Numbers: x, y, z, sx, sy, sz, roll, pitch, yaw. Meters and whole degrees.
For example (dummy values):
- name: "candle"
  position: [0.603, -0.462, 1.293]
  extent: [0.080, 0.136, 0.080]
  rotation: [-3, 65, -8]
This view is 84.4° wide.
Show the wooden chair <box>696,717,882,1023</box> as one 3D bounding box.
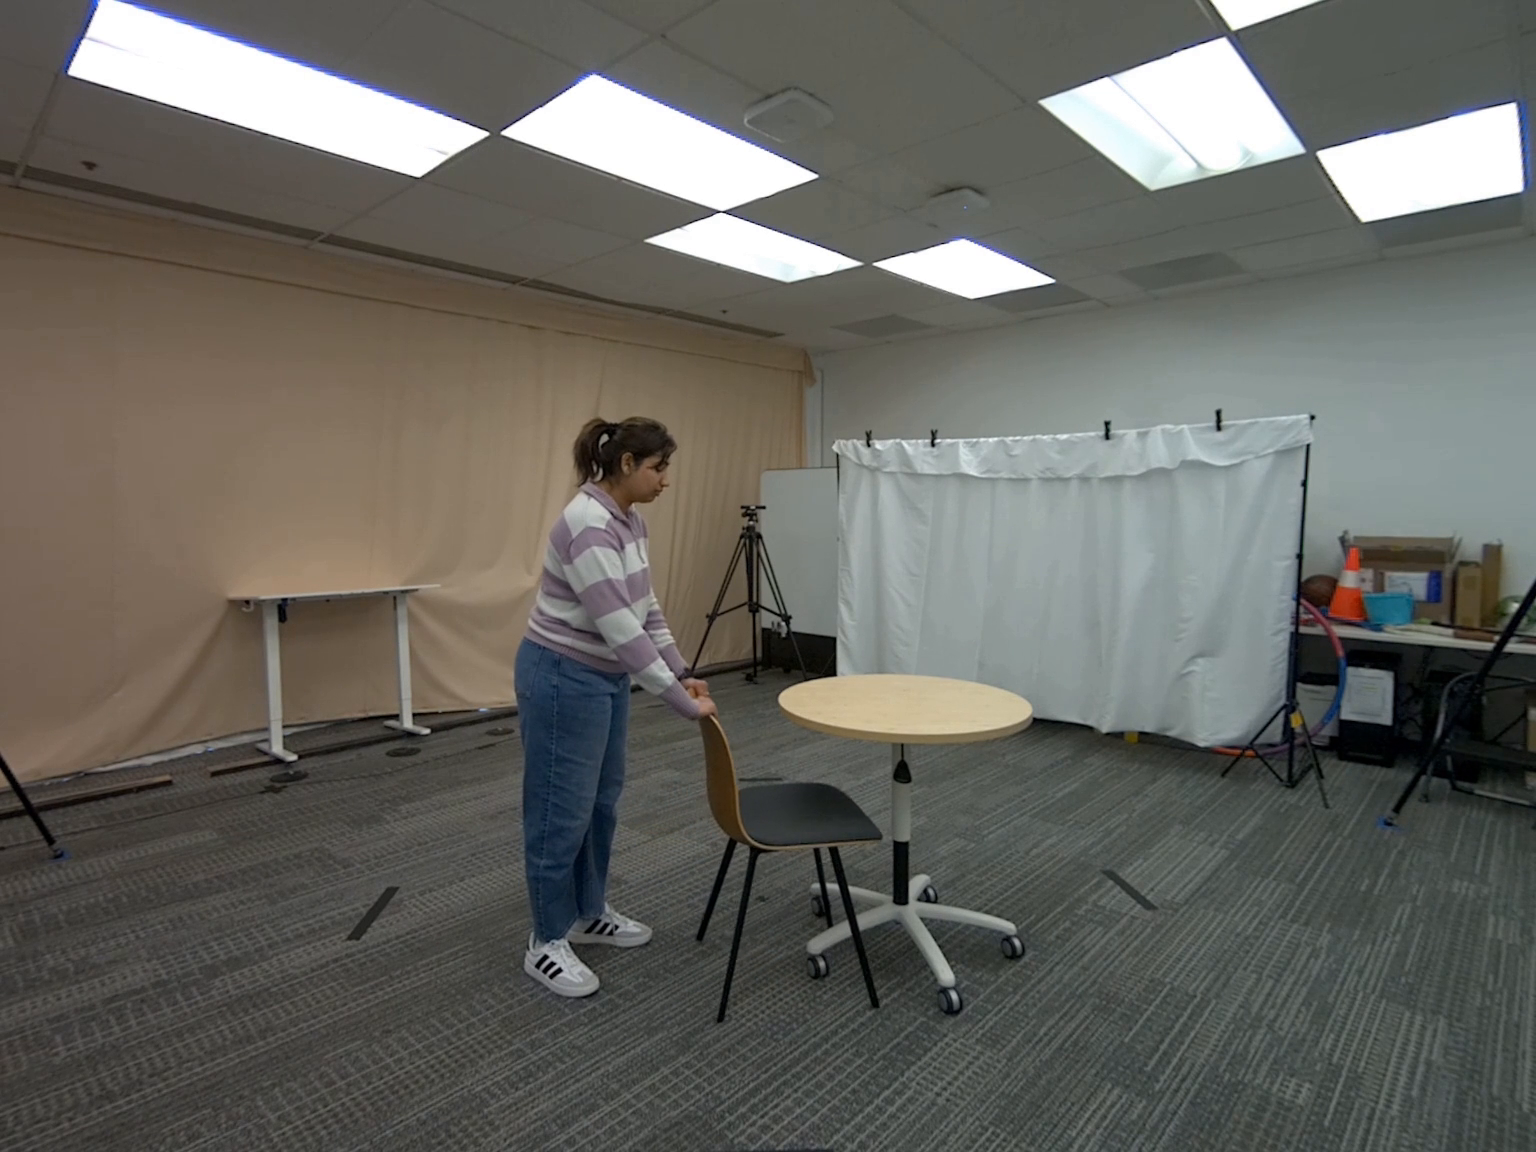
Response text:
- name: "wooden chair"
  position: [0.049, 0.761, 2.487]
  extent: [0.517, 0.875, 0.484]
  rotation: [-5, 3, -11]
